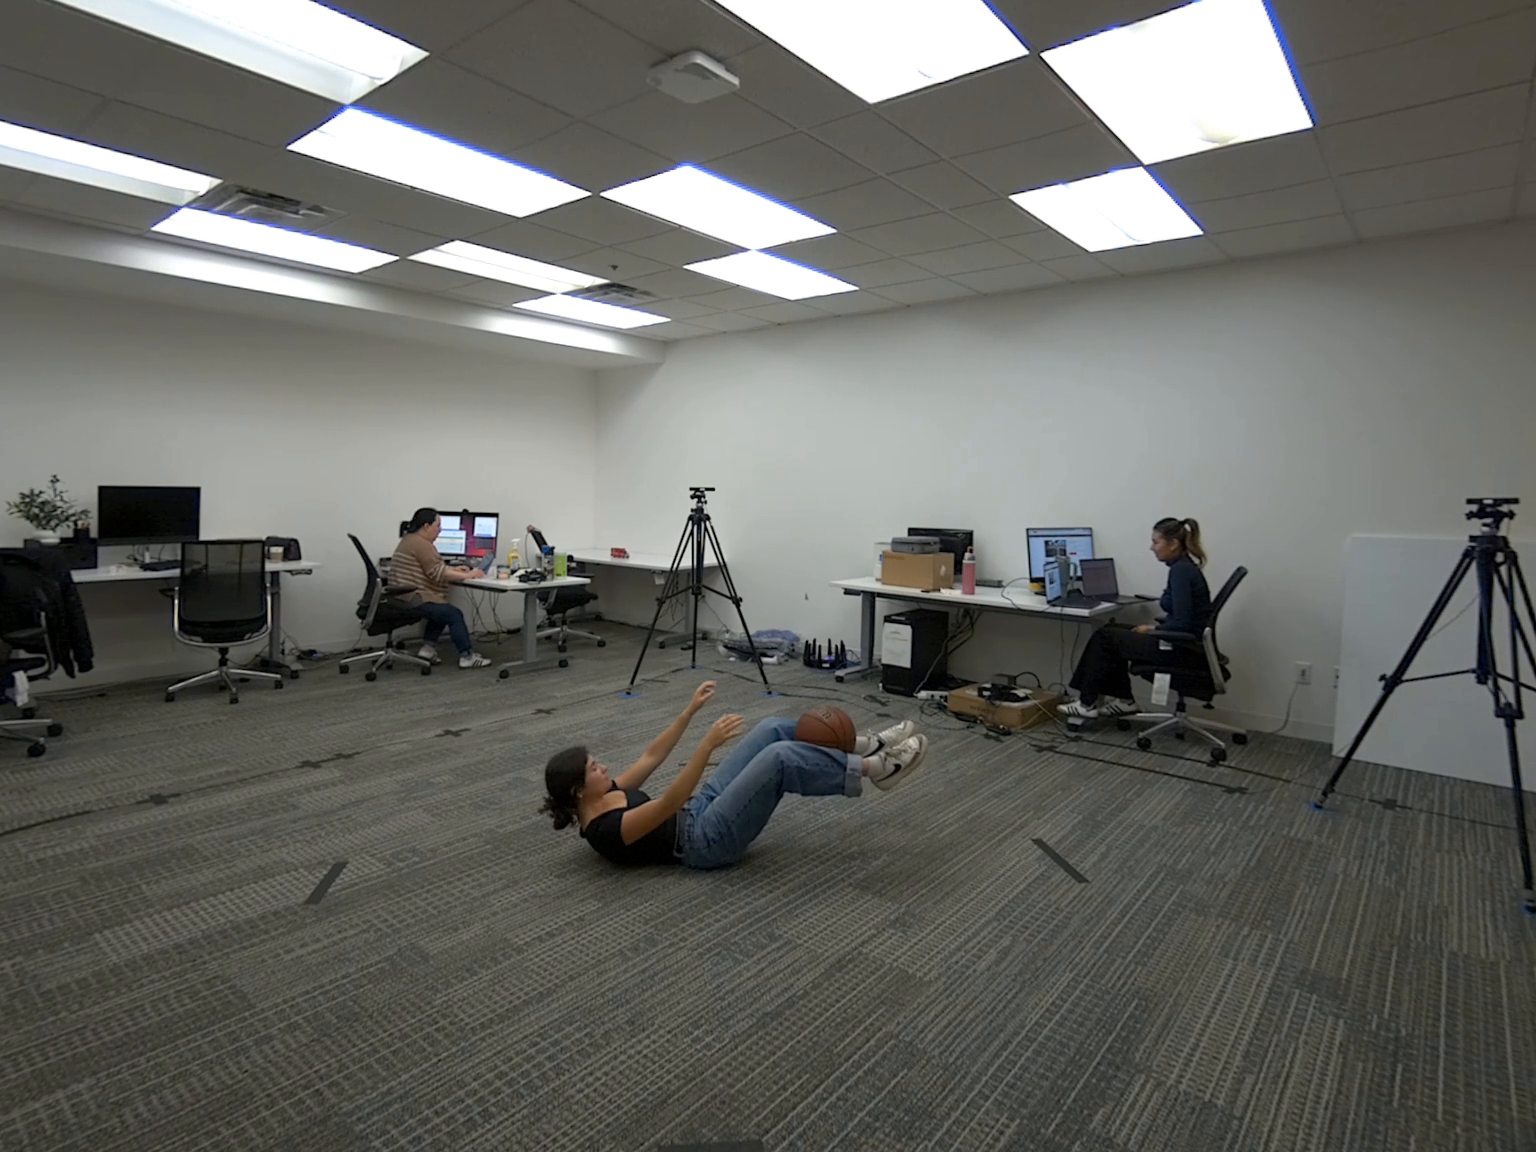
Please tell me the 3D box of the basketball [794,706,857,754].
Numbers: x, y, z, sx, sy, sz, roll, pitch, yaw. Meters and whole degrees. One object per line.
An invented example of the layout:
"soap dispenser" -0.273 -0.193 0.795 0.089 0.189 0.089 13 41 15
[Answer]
"basketball" 0.212 0.613 3.280 0.235 0.235 0.237 1 4 -2
